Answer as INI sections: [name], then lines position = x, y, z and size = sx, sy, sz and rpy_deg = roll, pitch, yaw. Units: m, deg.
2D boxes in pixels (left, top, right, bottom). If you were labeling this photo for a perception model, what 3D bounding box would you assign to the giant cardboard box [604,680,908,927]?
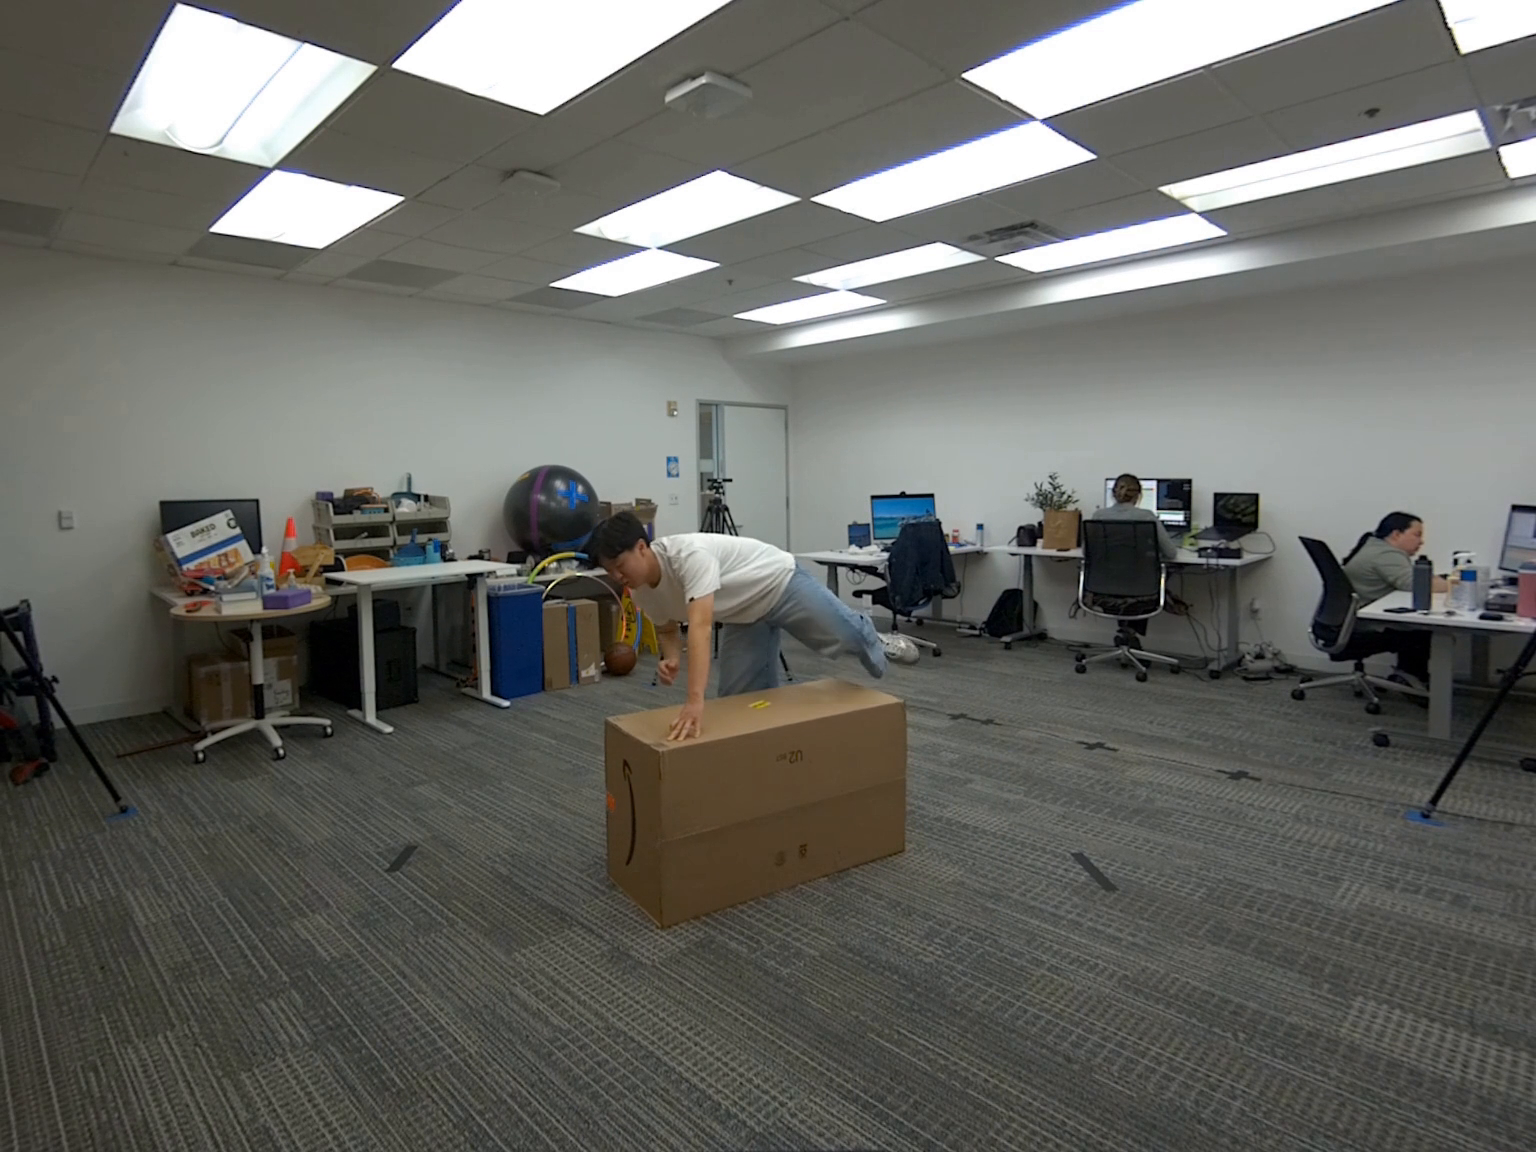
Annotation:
[giant cardboard box]
position = -0.031, 0.762, 3.076
size = 1.001, 0.575, 0.438
rpy_deg = -4, 6, -31
